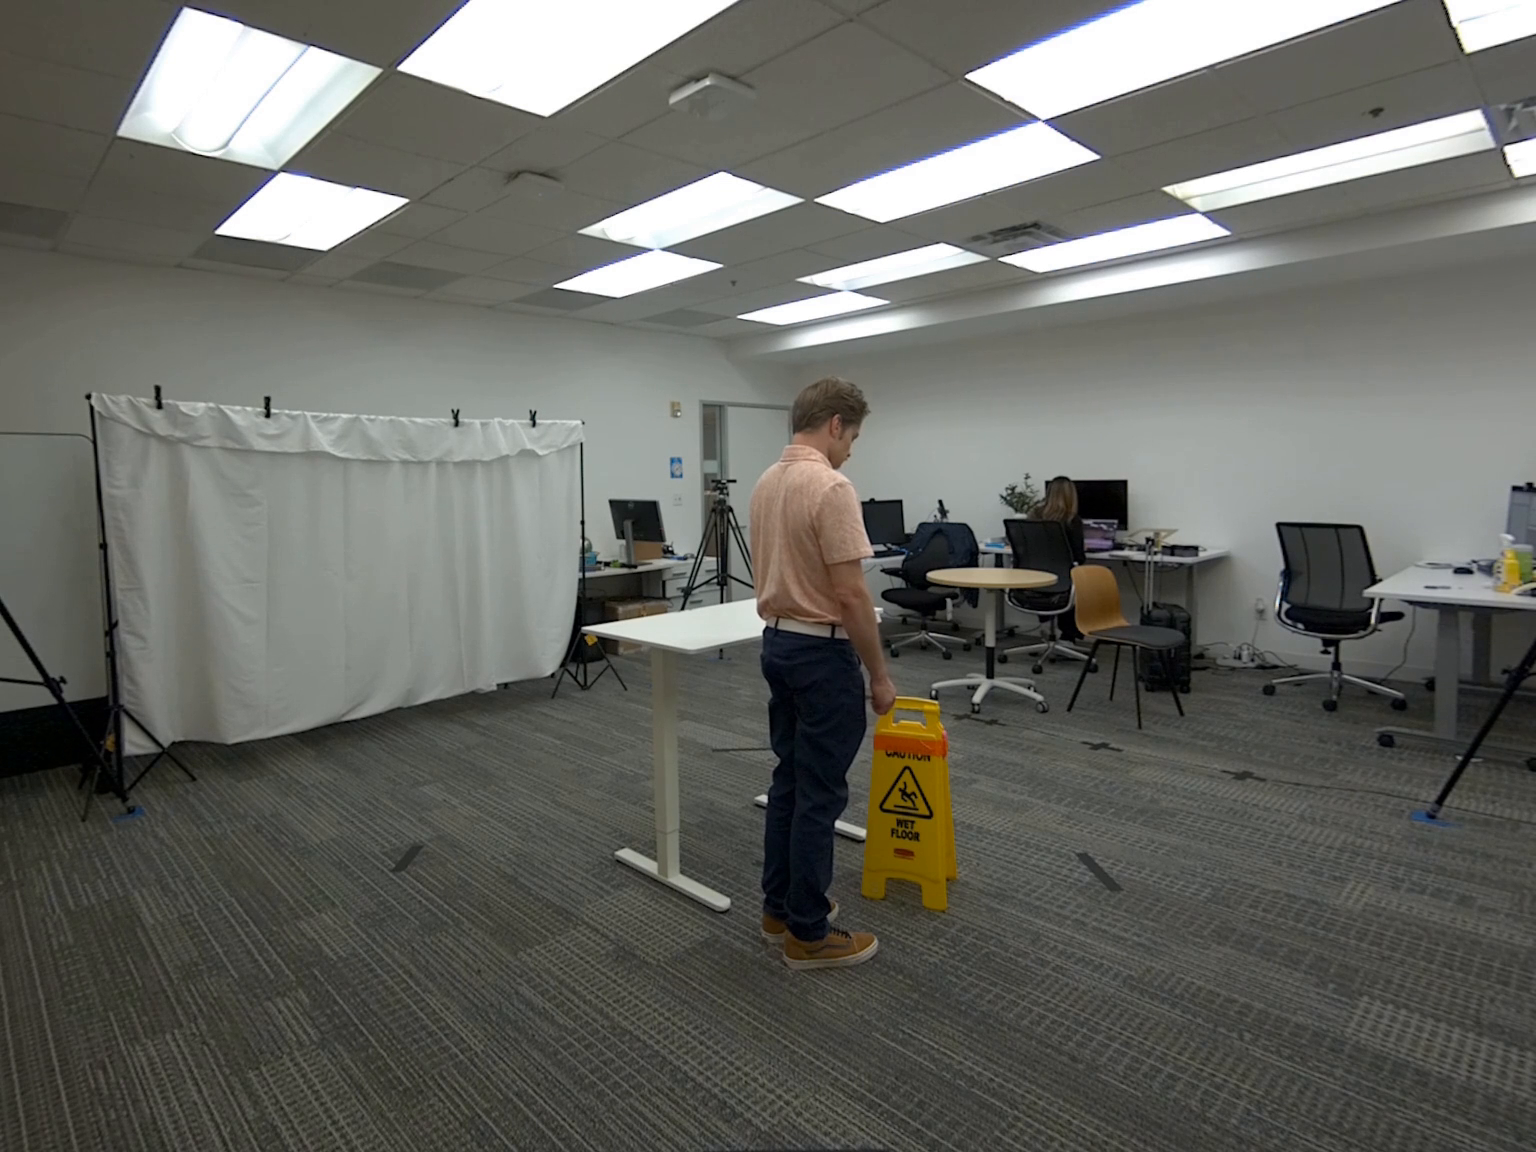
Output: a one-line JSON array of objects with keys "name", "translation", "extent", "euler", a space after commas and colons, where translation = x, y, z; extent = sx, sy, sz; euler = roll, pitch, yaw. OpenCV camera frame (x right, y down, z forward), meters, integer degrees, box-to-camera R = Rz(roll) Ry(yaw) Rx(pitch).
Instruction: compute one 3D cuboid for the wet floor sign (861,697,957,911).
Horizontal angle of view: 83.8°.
[{"name": "wet floor sign", "translation": [0.481, 0.739, 2.885], "extent": [0.287, 0.644, 0.285], "euler": [-1, 4, 20]}]
